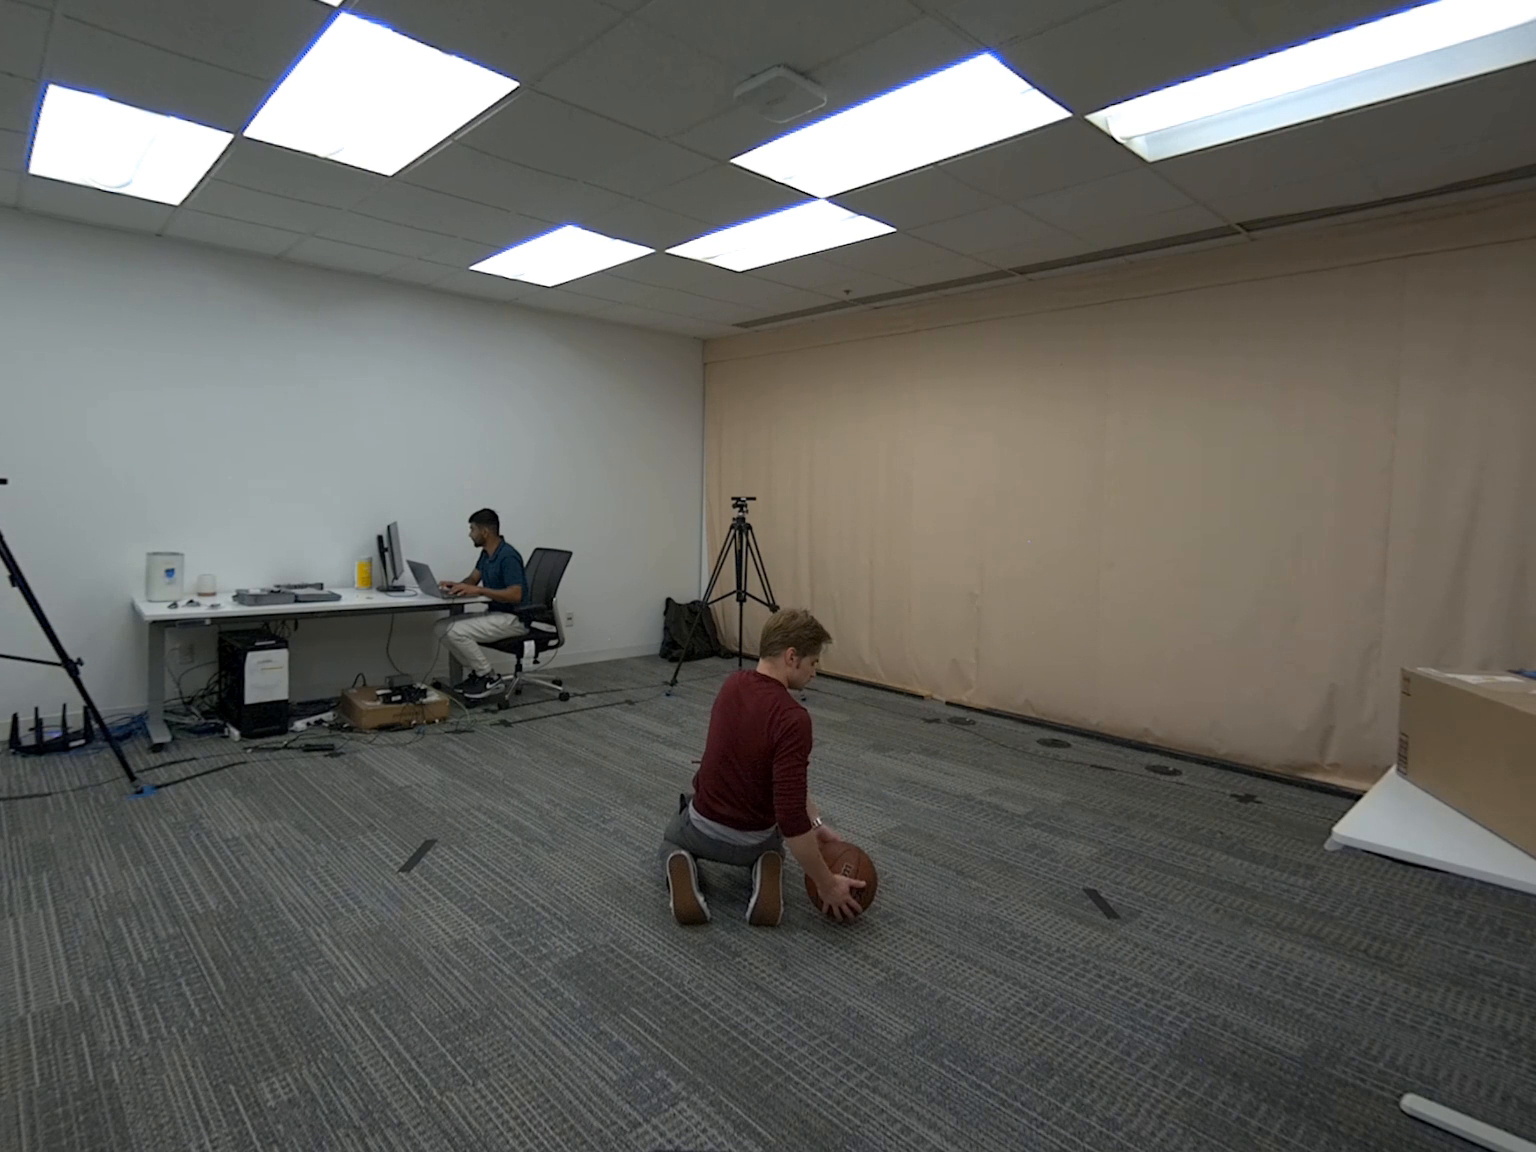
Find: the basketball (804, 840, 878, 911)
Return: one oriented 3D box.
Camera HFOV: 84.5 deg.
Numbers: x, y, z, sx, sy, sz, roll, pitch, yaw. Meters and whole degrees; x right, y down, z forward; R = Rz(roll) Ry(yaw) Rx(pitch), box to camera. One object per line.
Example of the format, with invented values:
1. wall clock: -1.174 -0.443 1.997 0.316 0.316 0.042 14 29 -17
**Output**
1. basketball: 0.240 0.995 2.797 0.236 0.235 0.237 1 4 -1
